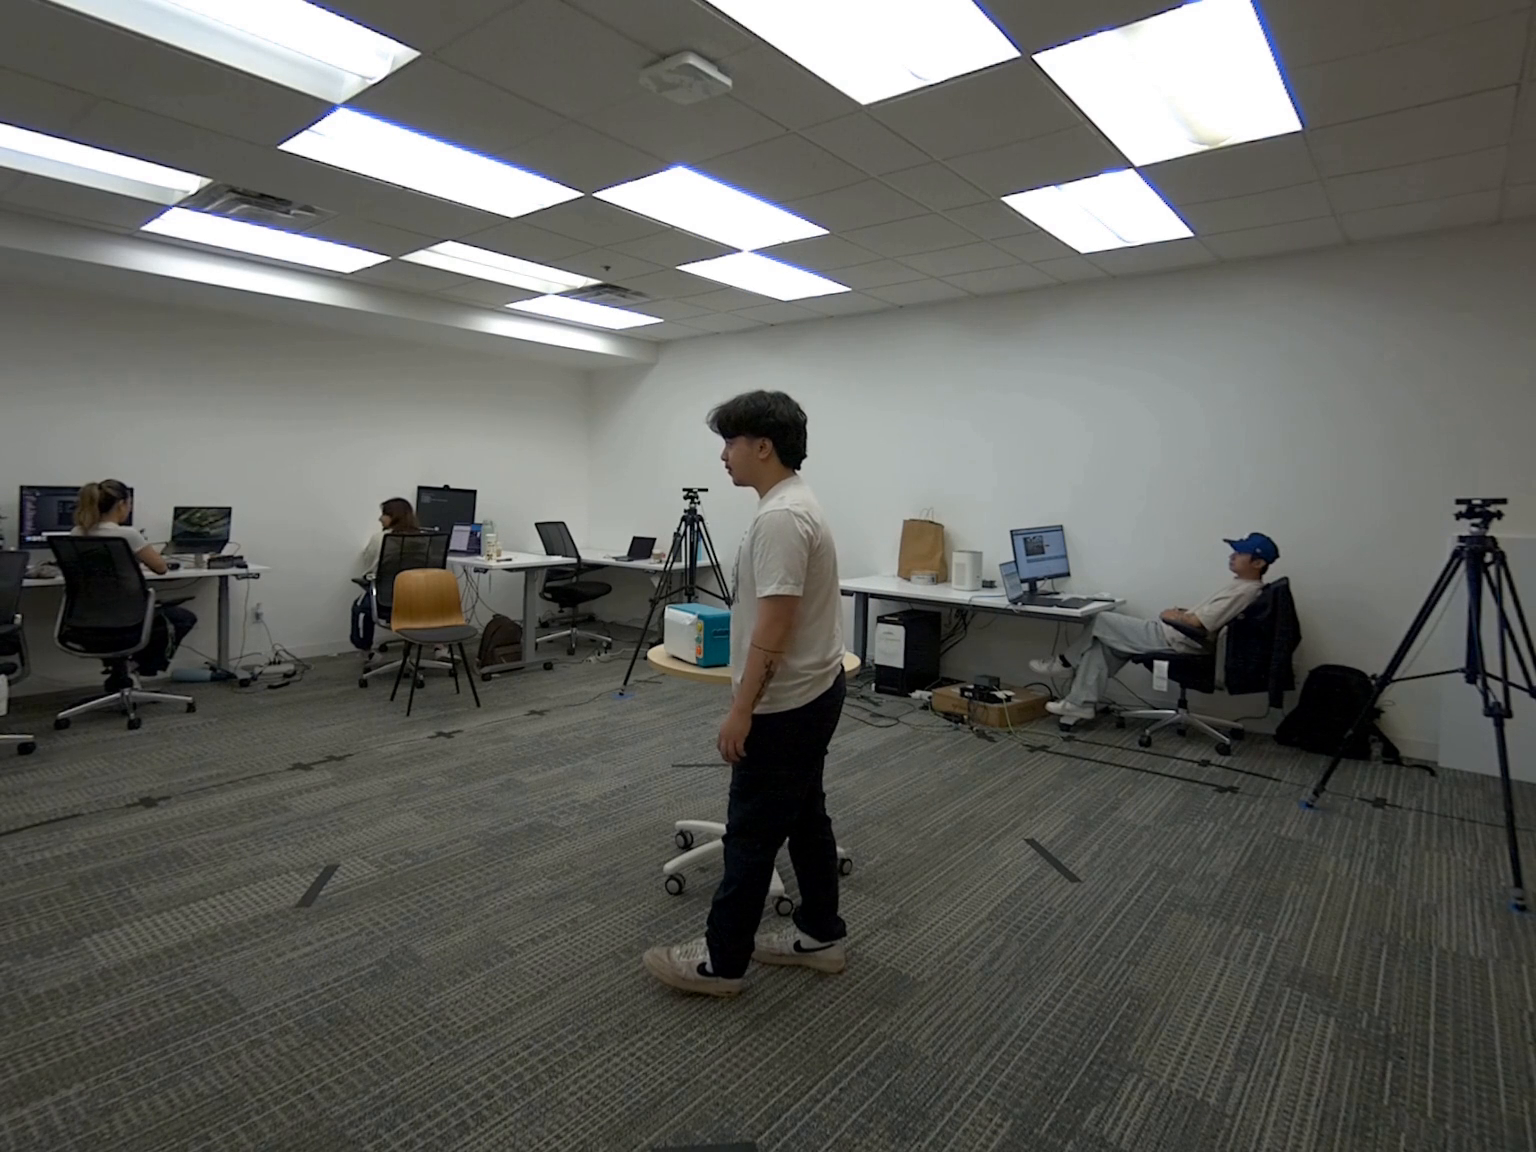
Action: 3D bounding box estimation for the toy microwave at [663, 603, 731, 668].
[{"bbox_3d":[-0.258,0.201,2.942,0.148,0.183,0.295,-1,6,-34],"label":"toy microwave"}]
